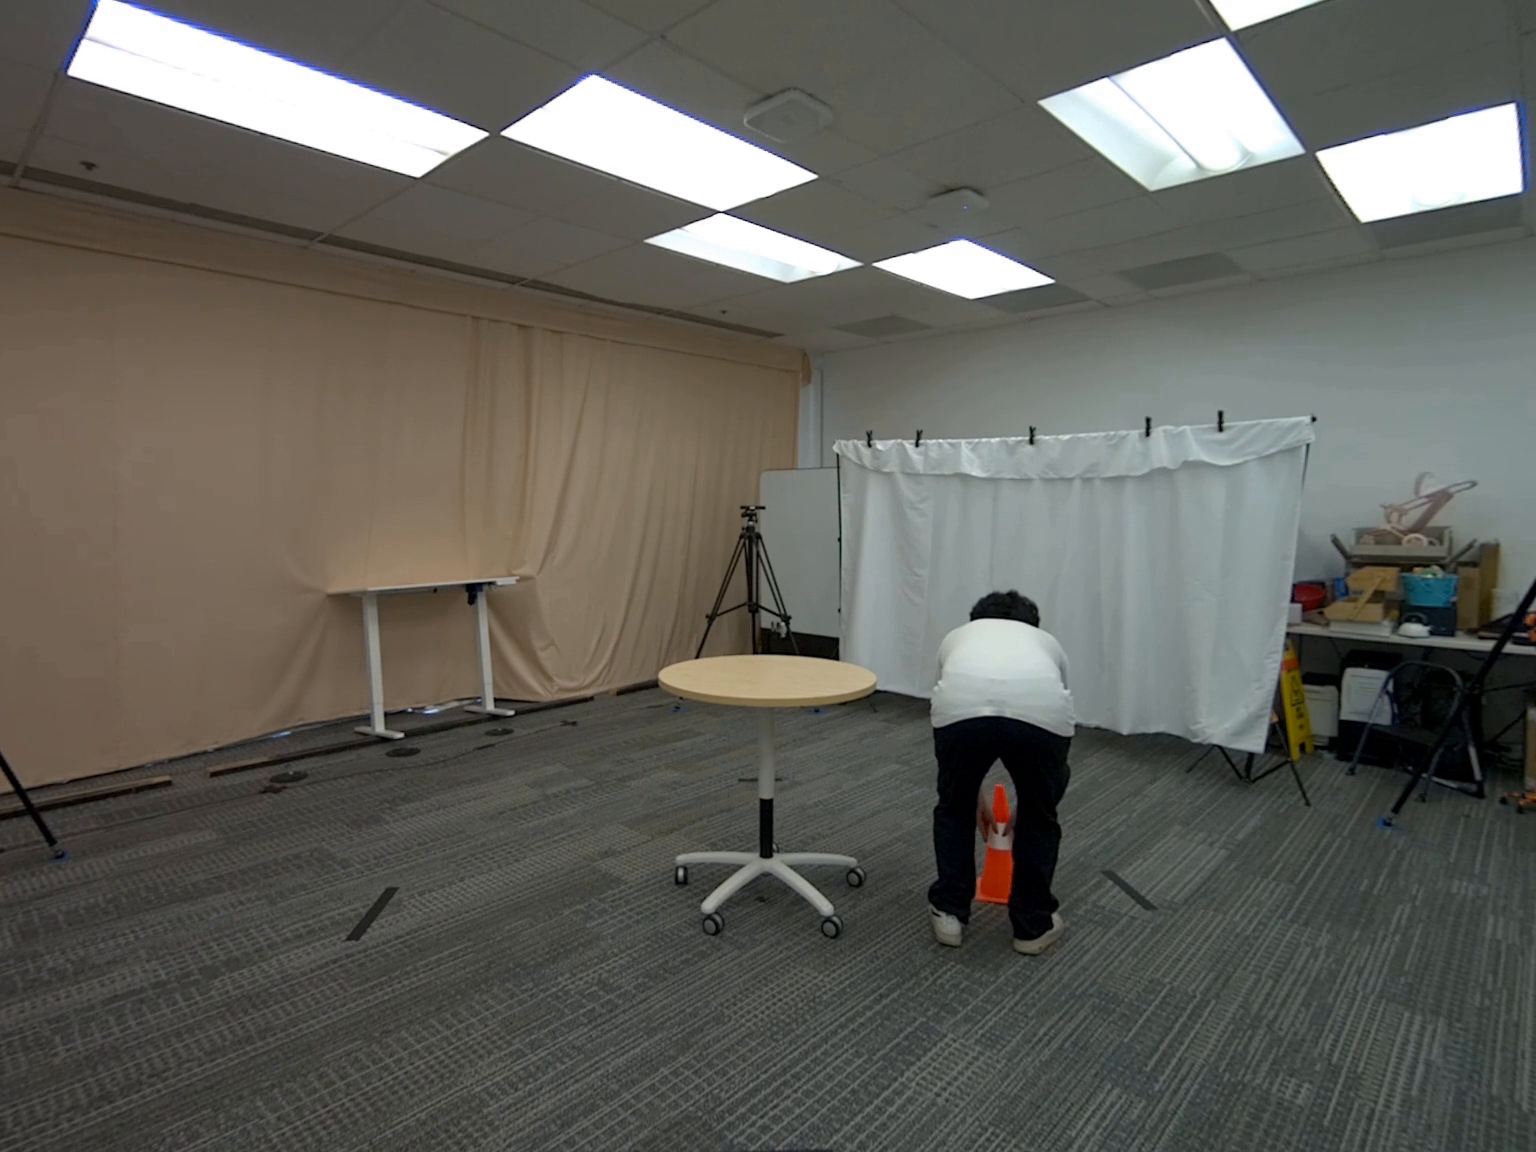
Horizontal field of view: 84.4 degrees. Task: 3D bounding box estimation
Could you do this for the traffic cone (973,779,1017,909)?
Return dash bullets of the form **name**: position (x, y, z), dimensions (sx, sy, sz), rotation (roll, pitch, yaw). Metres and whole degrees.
- **traffic cone**: position (0.849, 0.949, 3.022), dimensions (0.208, 0.384, 0.200), rotation (-2, -1, 27)
